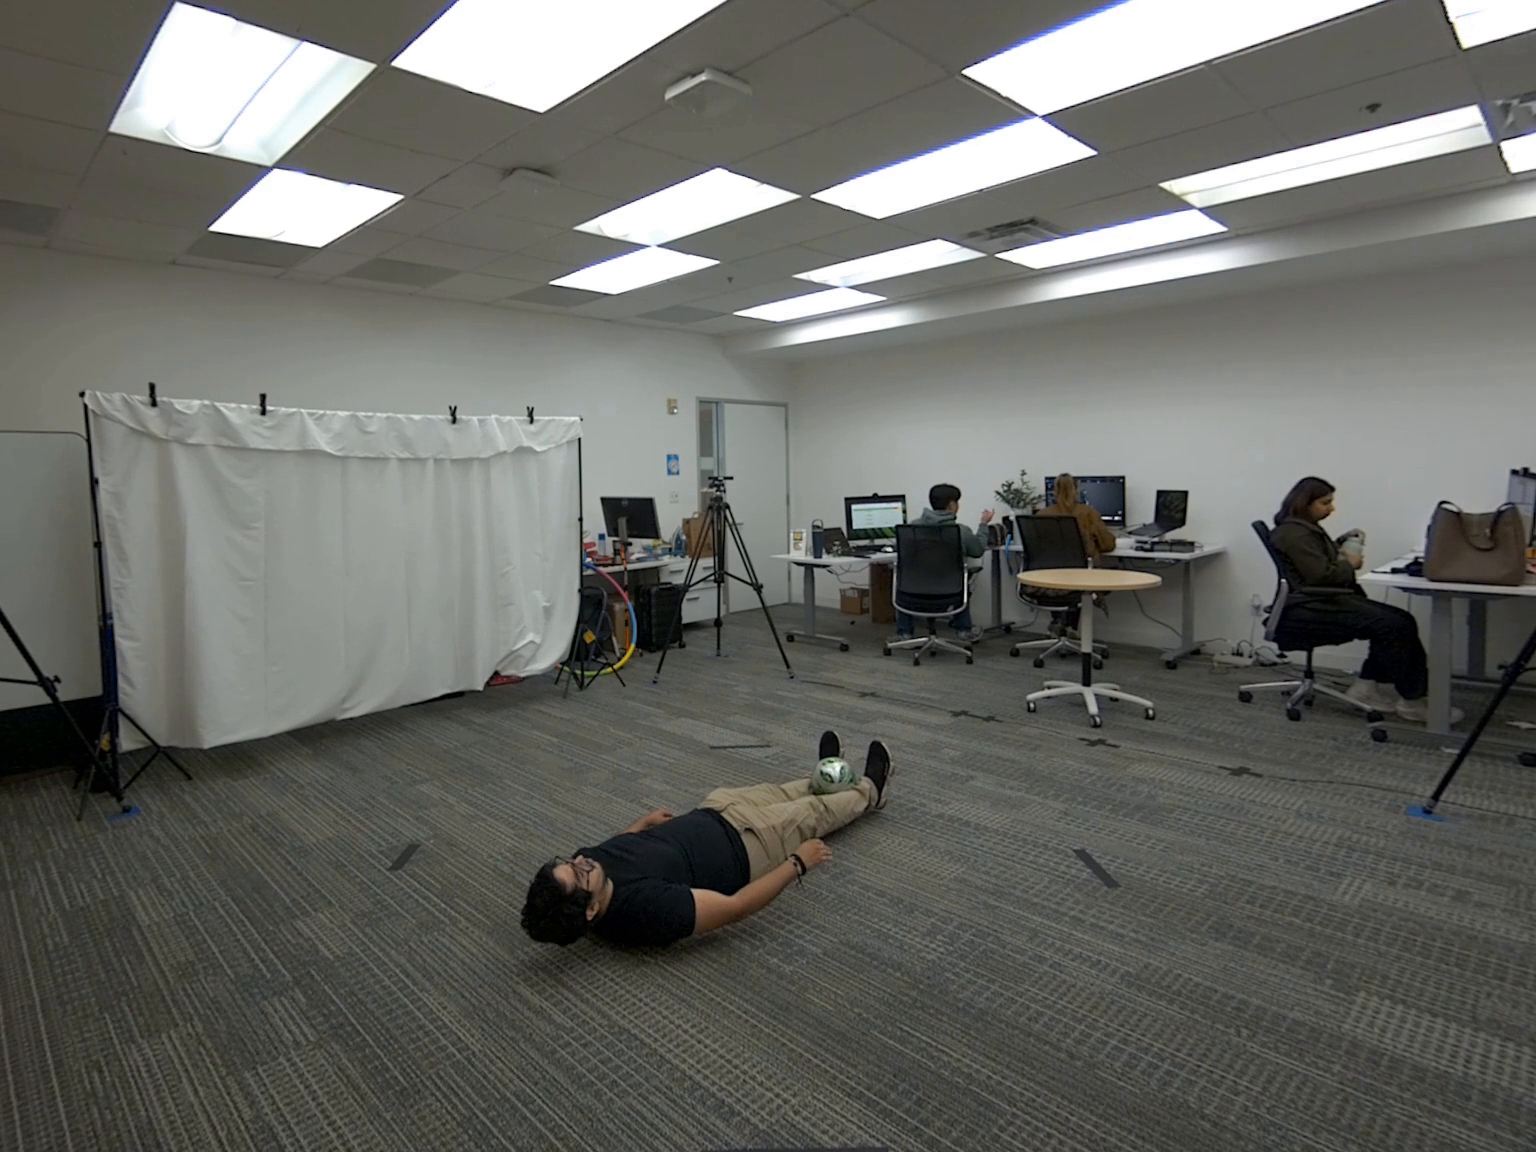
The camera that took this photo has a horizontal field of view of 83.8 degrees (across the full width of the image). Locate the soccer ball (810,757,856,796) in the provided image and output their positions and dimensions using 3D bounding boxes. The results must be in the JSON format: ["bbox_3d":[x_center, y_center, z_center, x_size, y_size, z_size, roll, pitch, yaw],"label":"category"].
[{"bbox_3d":[0.274,0.837,3.502,0.187,0.187,0.188,-1,4,-2],"label":"soccer ball"}]
